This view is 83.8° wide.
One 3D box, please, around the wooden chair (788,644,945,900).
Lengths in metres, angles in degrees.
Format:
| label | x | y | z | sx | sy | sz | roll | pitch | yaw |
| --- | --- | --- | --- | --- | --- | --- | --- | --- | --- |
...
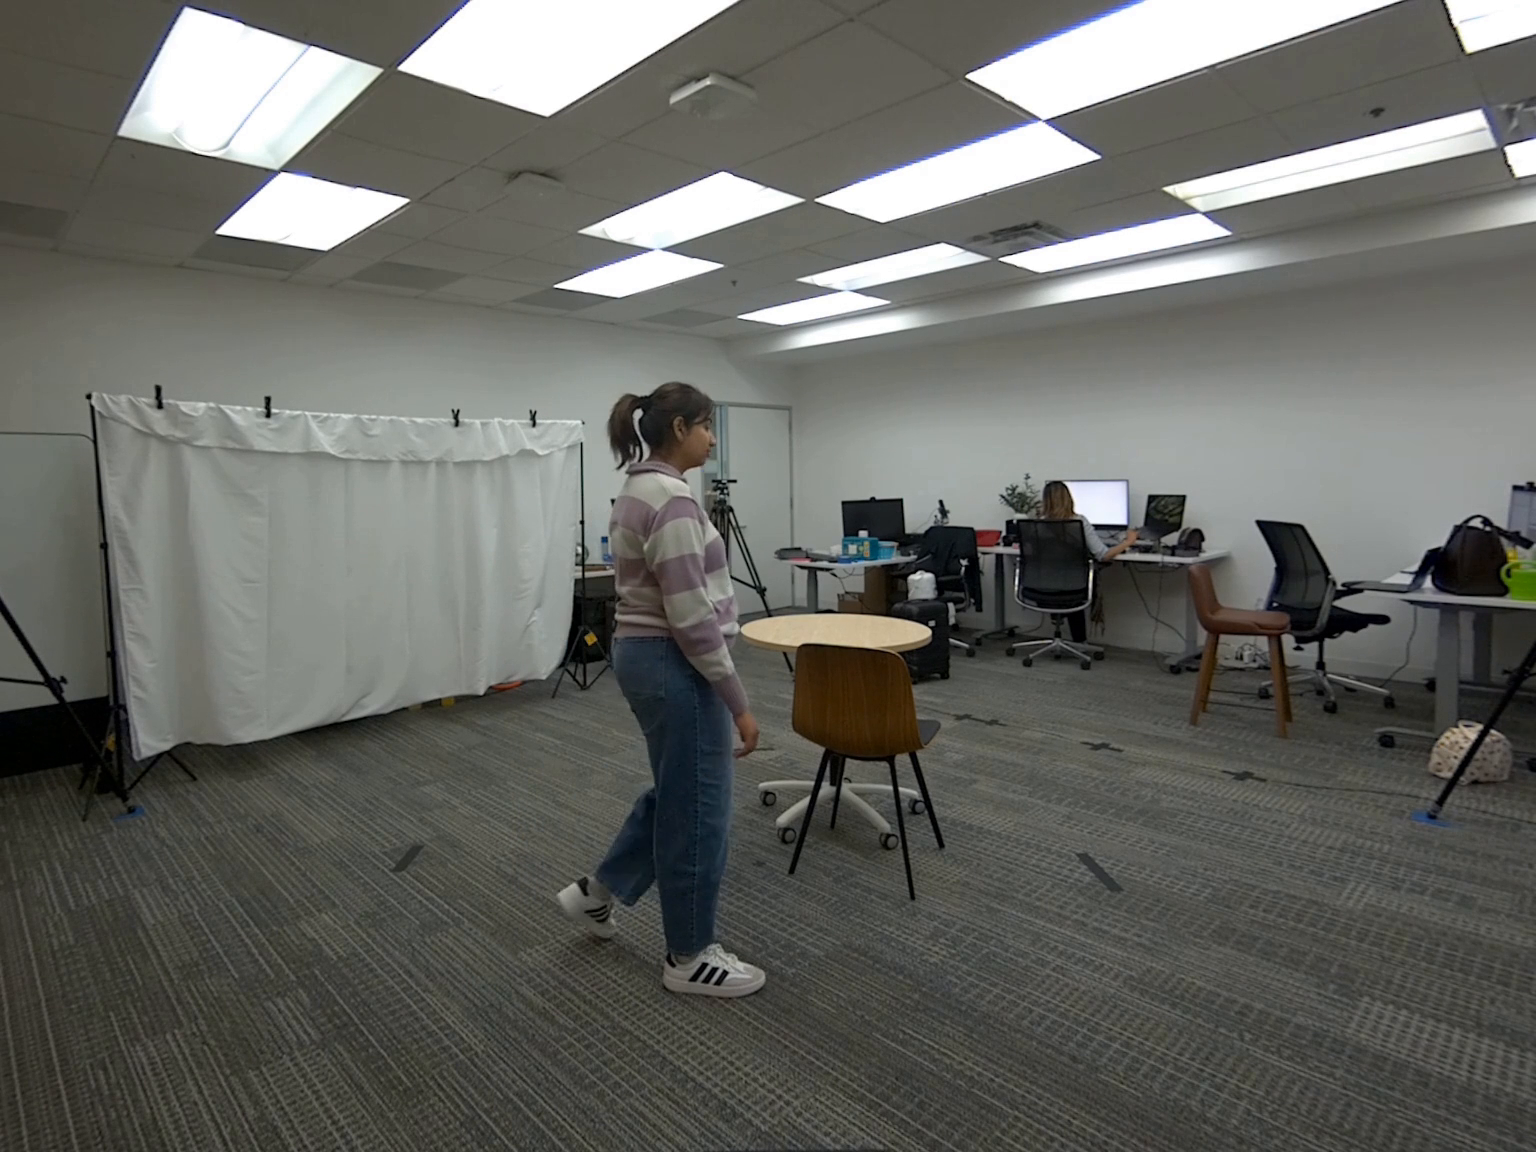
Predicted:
| label | x | y | z | sx | sy | sz | roll | pitch | yaw |
| --- | --- | --- | --- | --- | --- | --- | --- | --- | --- |
| wooden chair | 0.362 | 0.617 | 3.094 | 0.489 | 0.871 | 0.514 | 1 | 8 | 26 |
